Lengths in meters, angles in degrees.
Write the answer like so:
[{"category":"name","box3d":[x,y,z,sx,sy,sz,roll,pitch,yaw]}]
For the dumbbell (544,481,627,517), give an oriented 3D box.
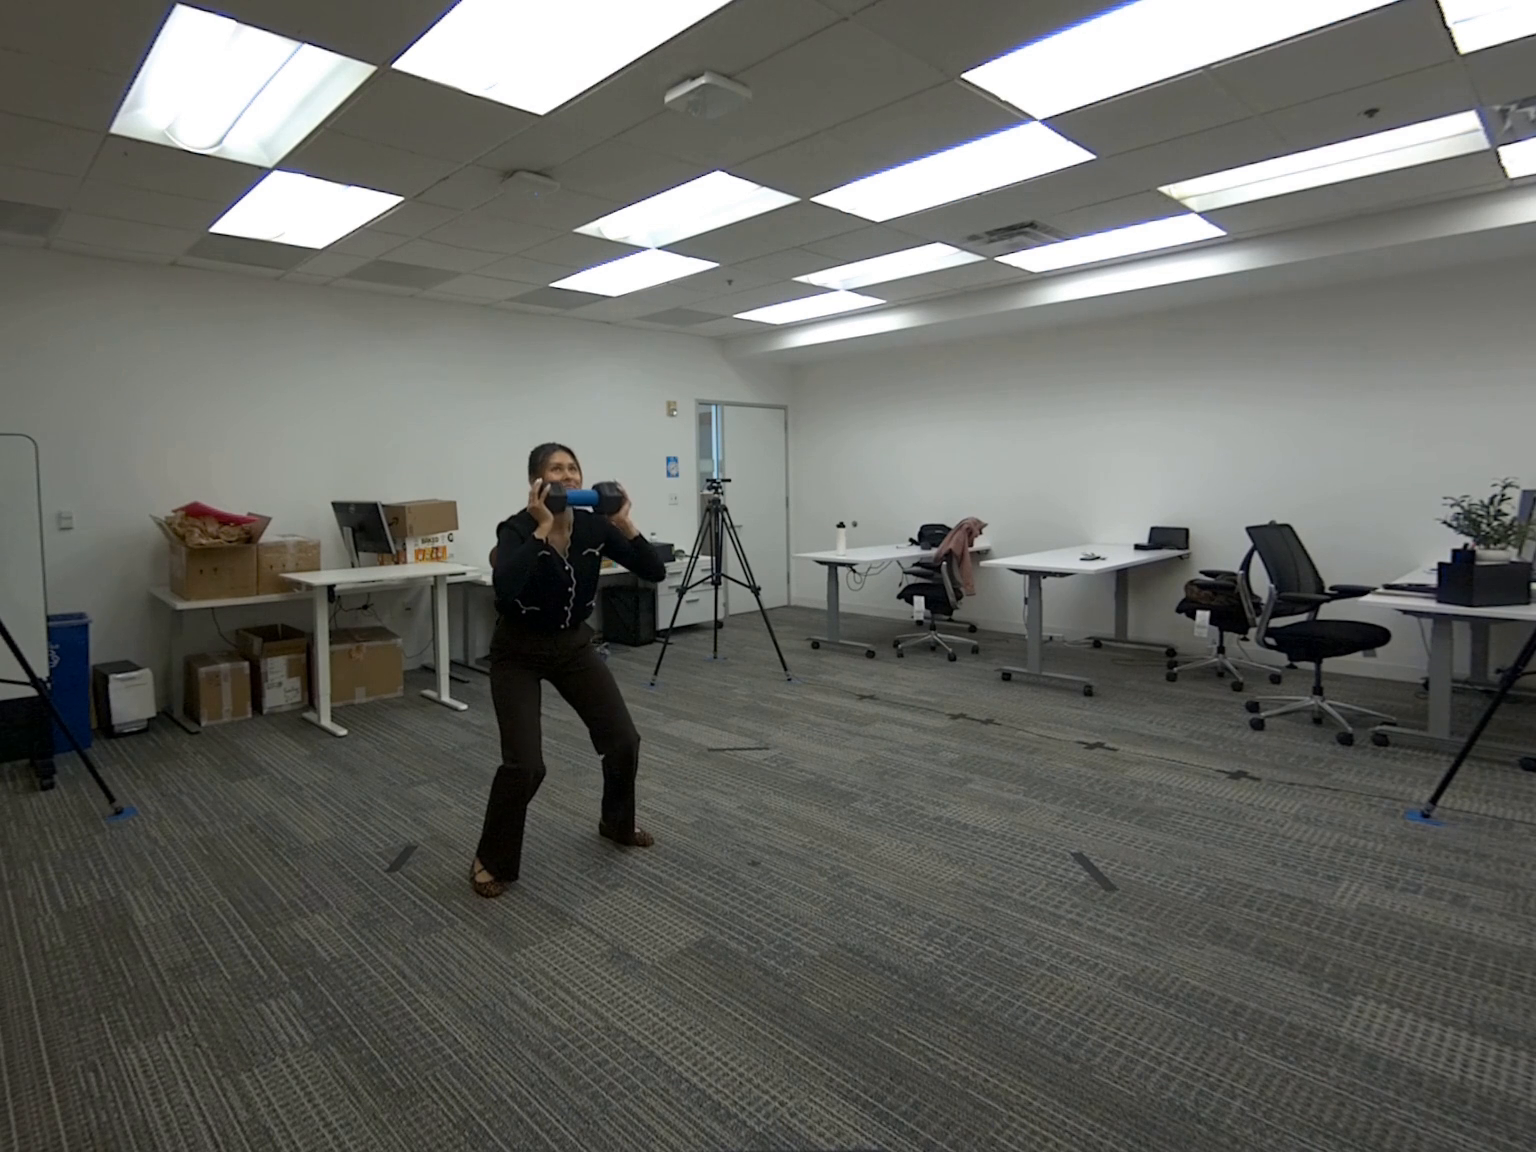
[{"category":"dumbbell","box3d":[-0.646,-0.256,2.889,0.285,0.127,0.108,-3,-38,-40]}]
